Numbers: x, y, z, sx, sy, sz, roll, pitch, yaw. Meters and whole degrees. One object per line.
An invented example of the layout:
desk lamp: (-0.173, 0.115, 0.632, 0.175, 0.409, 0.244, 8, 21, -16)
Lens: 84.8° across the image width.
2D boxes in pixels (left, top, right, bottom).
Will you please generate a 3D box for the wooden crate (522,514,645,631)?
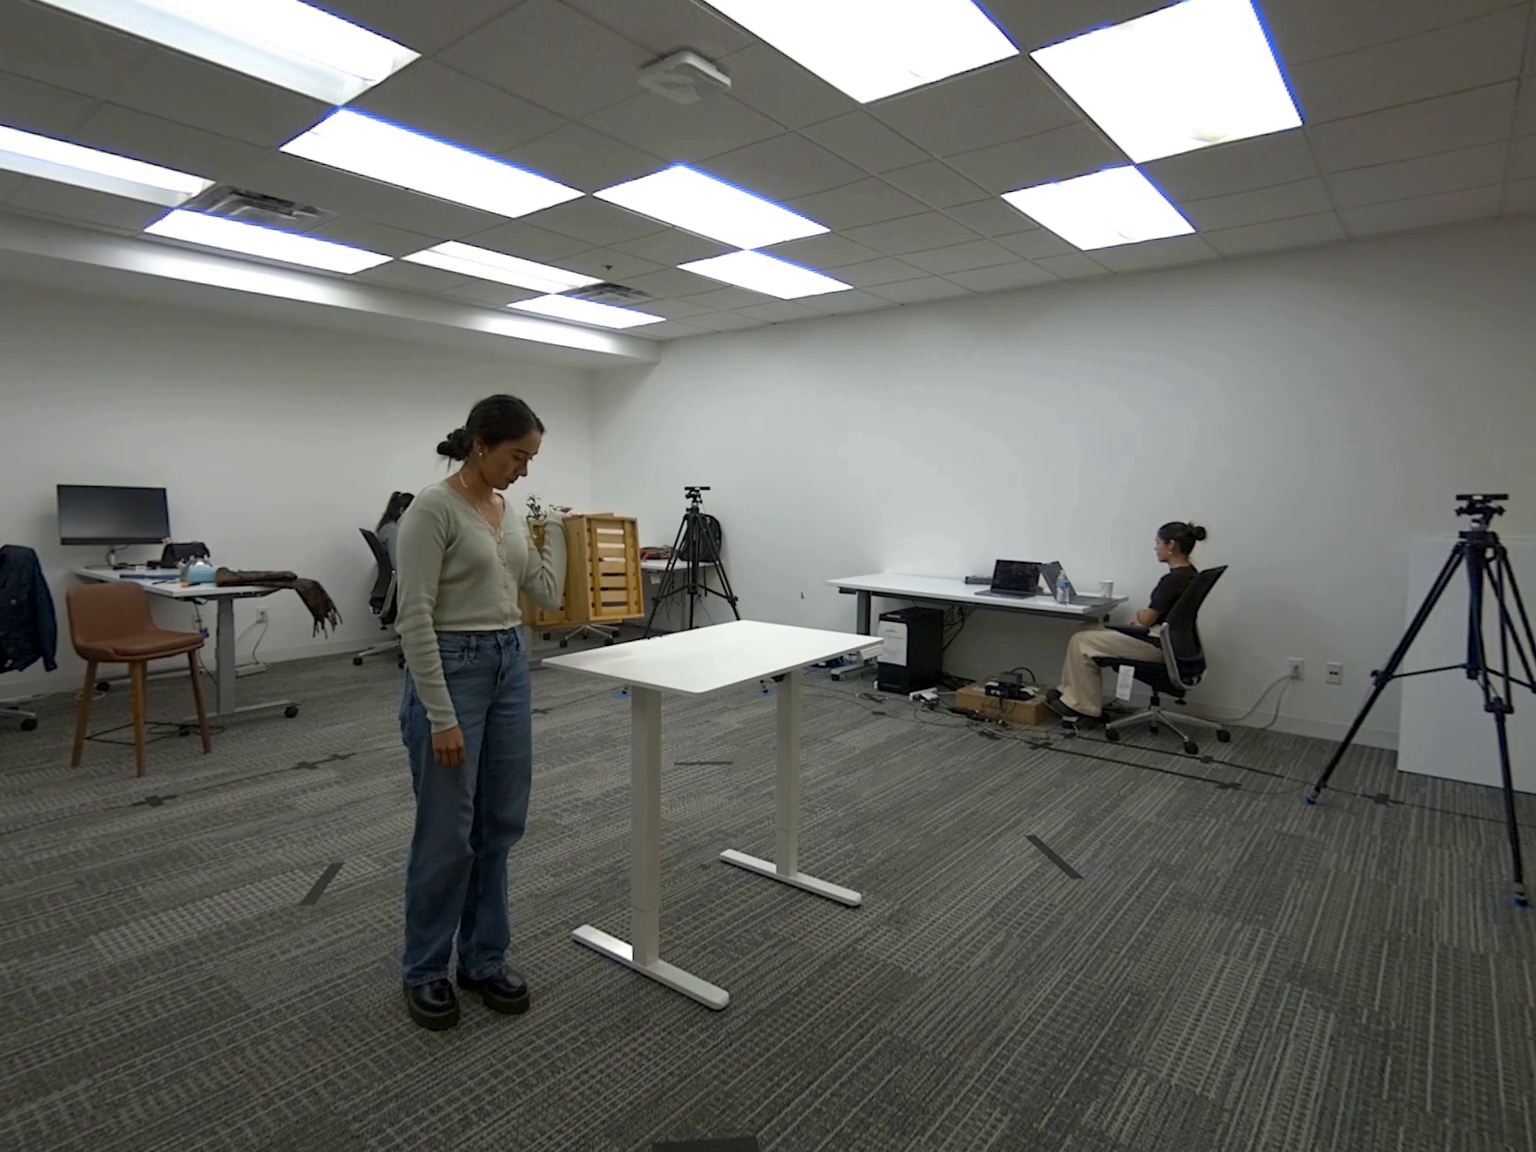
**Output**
wooden crate: (-0.581, -0.014, 2.555, 0.280, 0.326, 0.293, -7, -5, 34)
